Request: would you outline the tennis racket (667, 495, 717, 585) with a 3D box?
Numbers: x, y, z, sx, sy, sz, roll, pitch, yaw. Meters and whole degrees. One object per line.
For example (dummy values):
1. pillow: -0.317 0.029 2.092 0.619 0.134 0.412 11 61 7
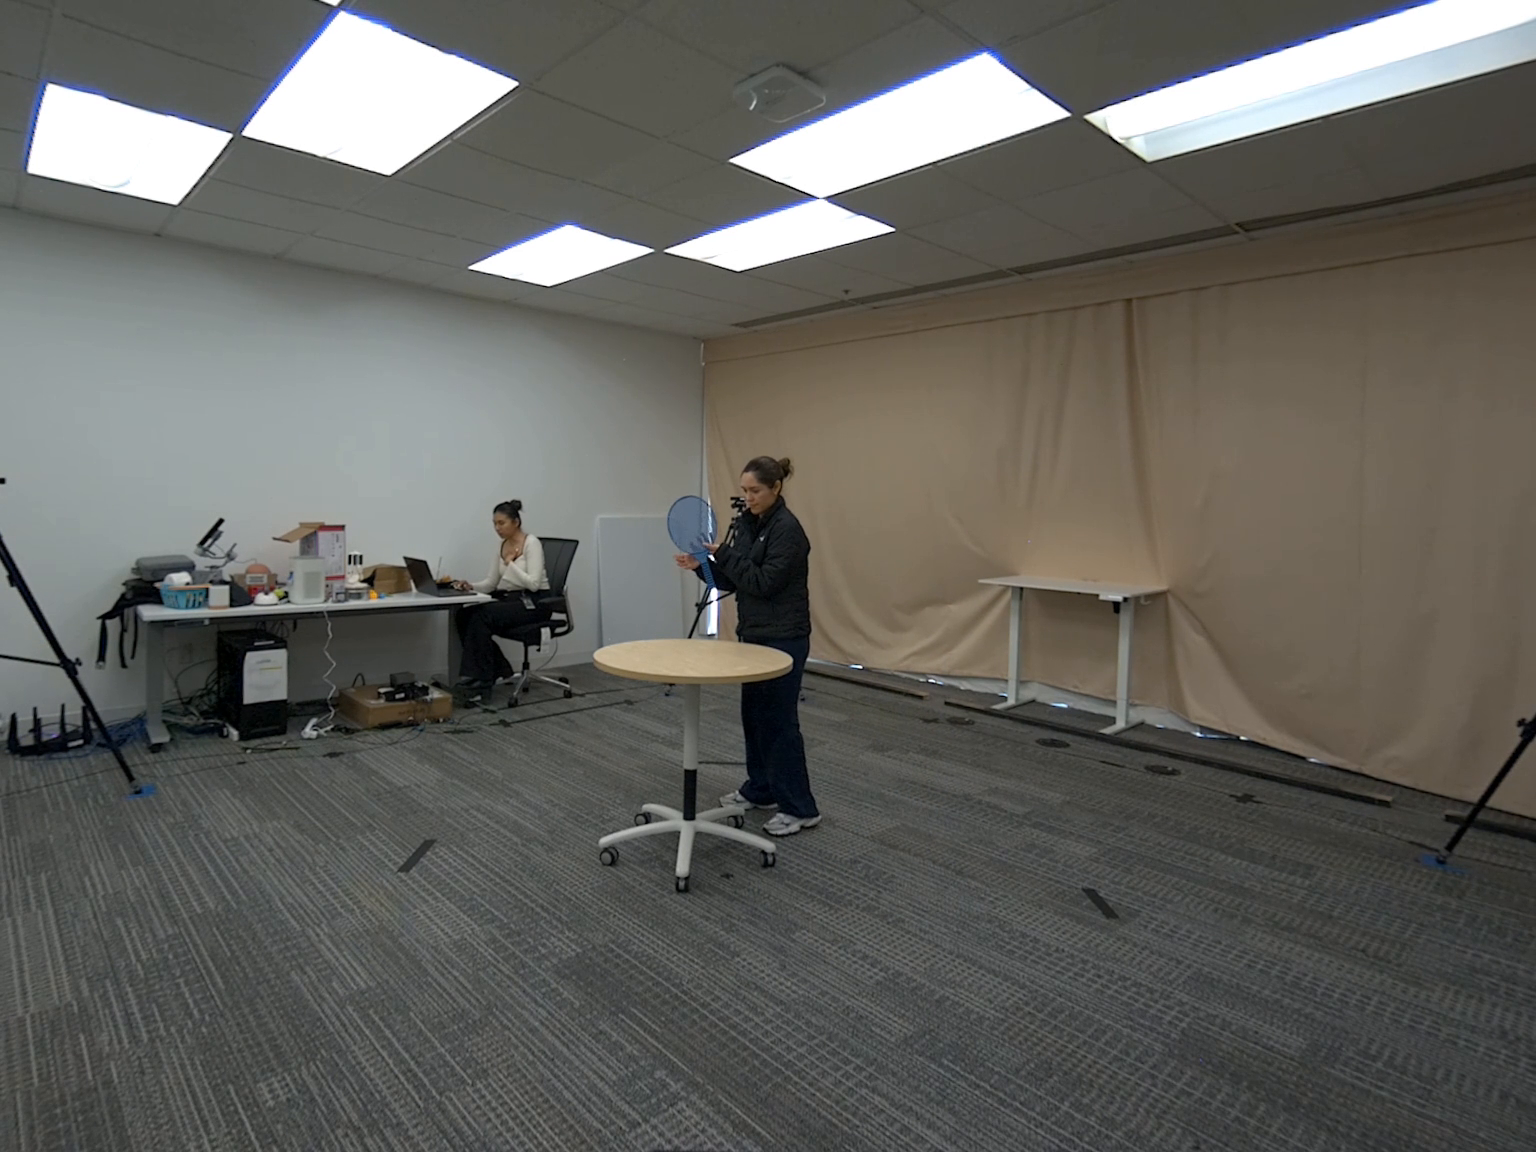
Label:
1. tennis racket: -0.313 -0.133 3.581 0.214 0.437 0.031 -19 -10 4
